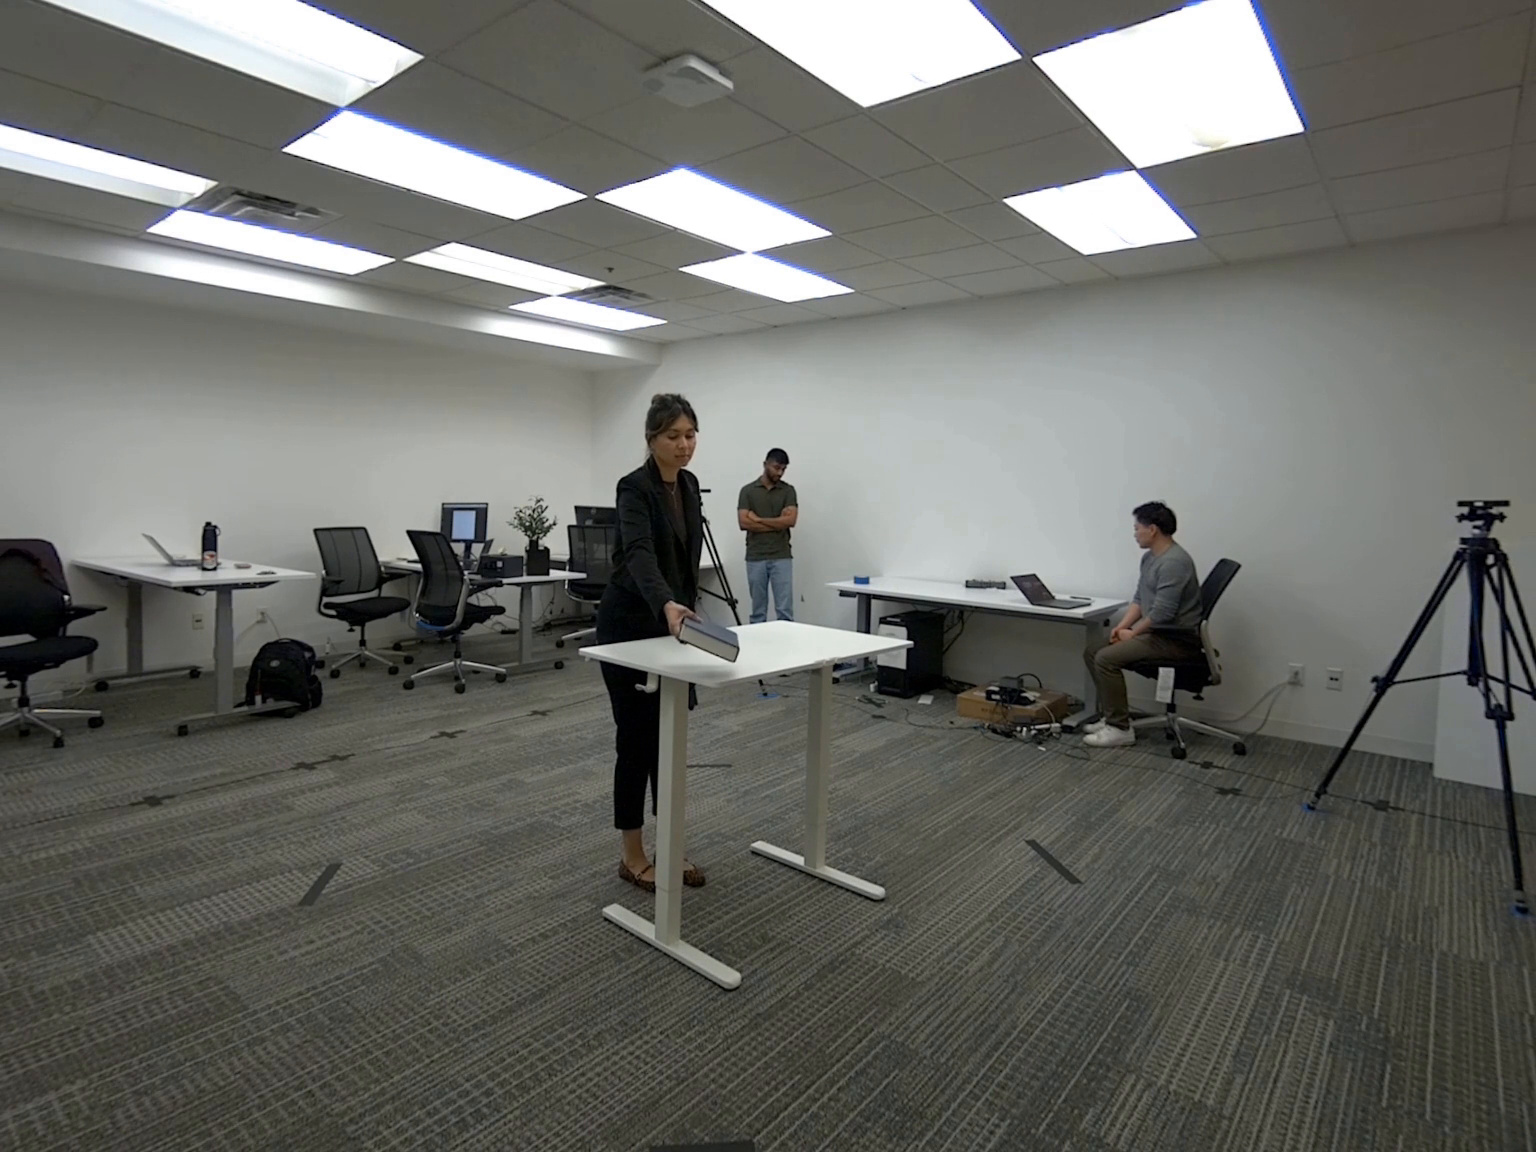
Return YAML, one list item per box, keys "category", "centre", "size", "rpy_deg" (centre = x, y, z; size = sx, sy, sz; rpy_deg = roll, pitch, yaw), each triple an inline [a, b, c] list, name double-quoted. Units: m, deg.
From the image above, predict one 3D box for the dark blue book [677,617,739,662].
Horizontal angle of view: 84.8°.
- category: "dark blue book"
  centre: [-0.168, 0.162, 2.327]
  size: [0.162, 0.045, 0.247]
  rpy_deg: [23, 3, -7]
